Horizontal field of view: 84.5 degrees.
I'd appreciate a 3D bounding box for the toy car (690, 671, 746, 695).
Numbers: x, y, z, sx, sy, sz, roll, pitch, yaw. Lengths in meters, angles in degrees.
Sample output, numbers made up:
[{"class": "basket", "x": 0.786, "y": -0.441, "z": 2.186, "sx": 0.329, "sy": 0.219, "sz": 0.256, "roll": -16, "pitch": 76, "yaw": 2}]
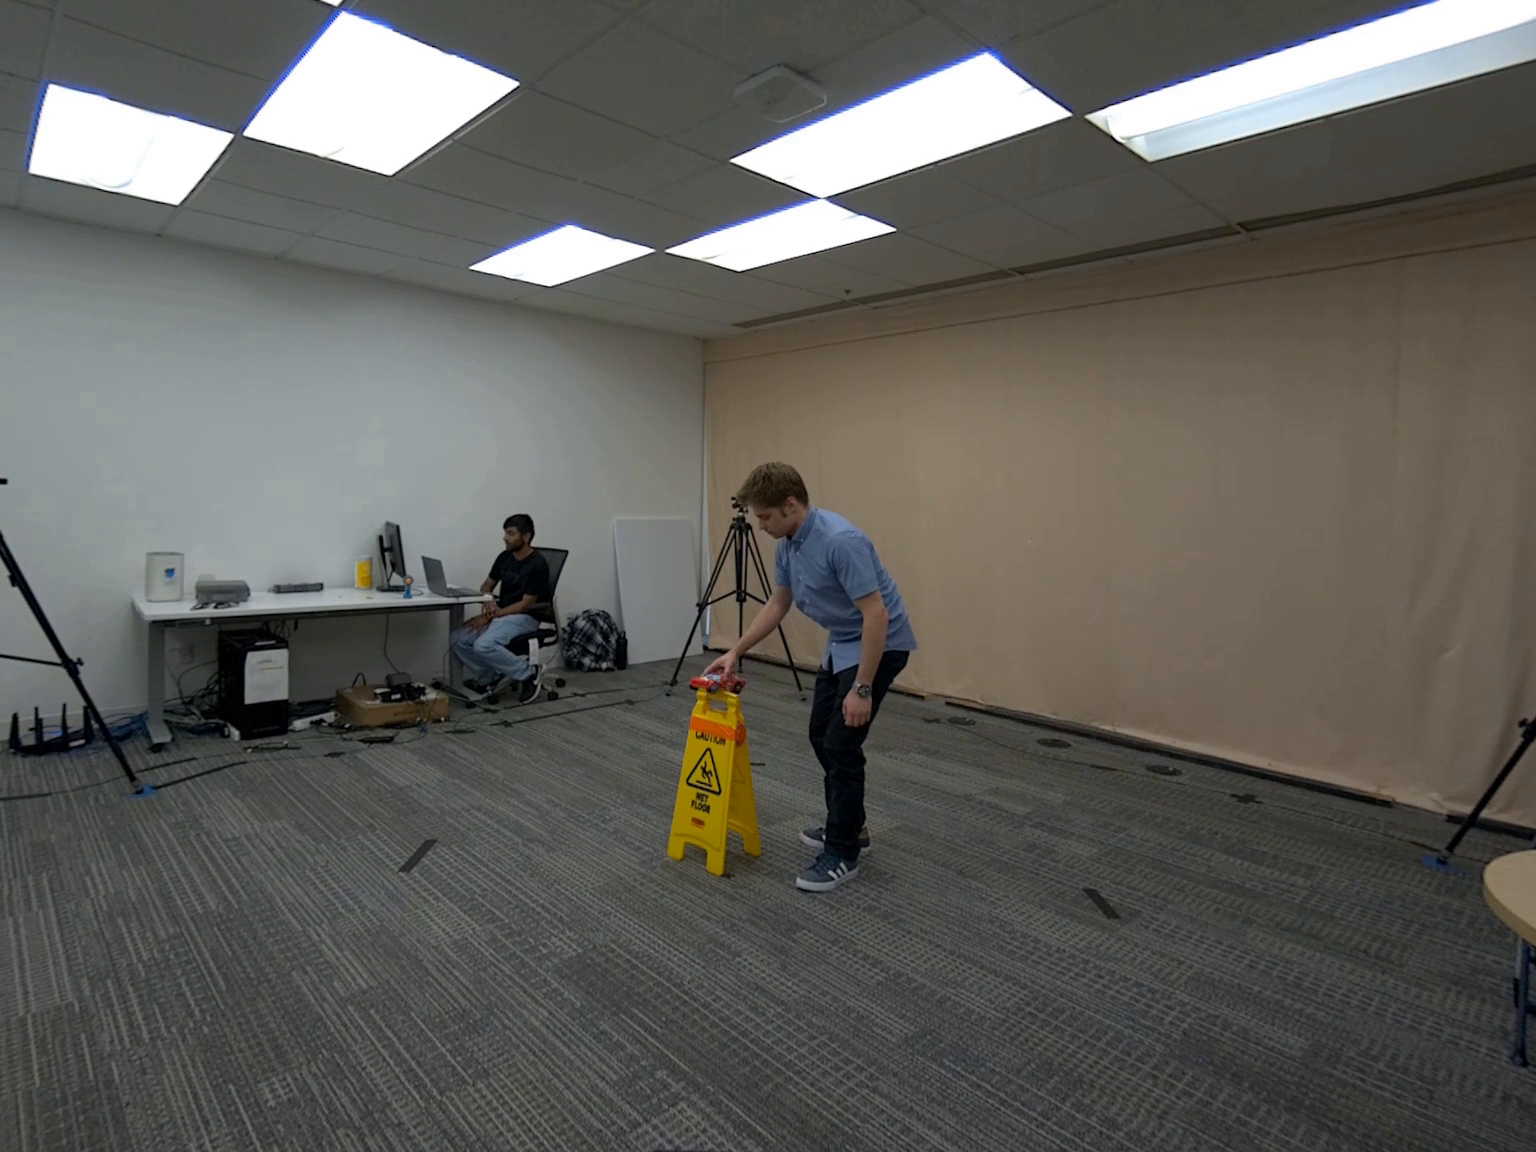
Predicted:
[{"class": "toy car", "x": -0.189, "y": 0.419, "z": 3.268, "sx": 0.133, "sy": 0.083, "sz": 0.249, "roll": 2, "pitch": 4, "yaw": 38}]
